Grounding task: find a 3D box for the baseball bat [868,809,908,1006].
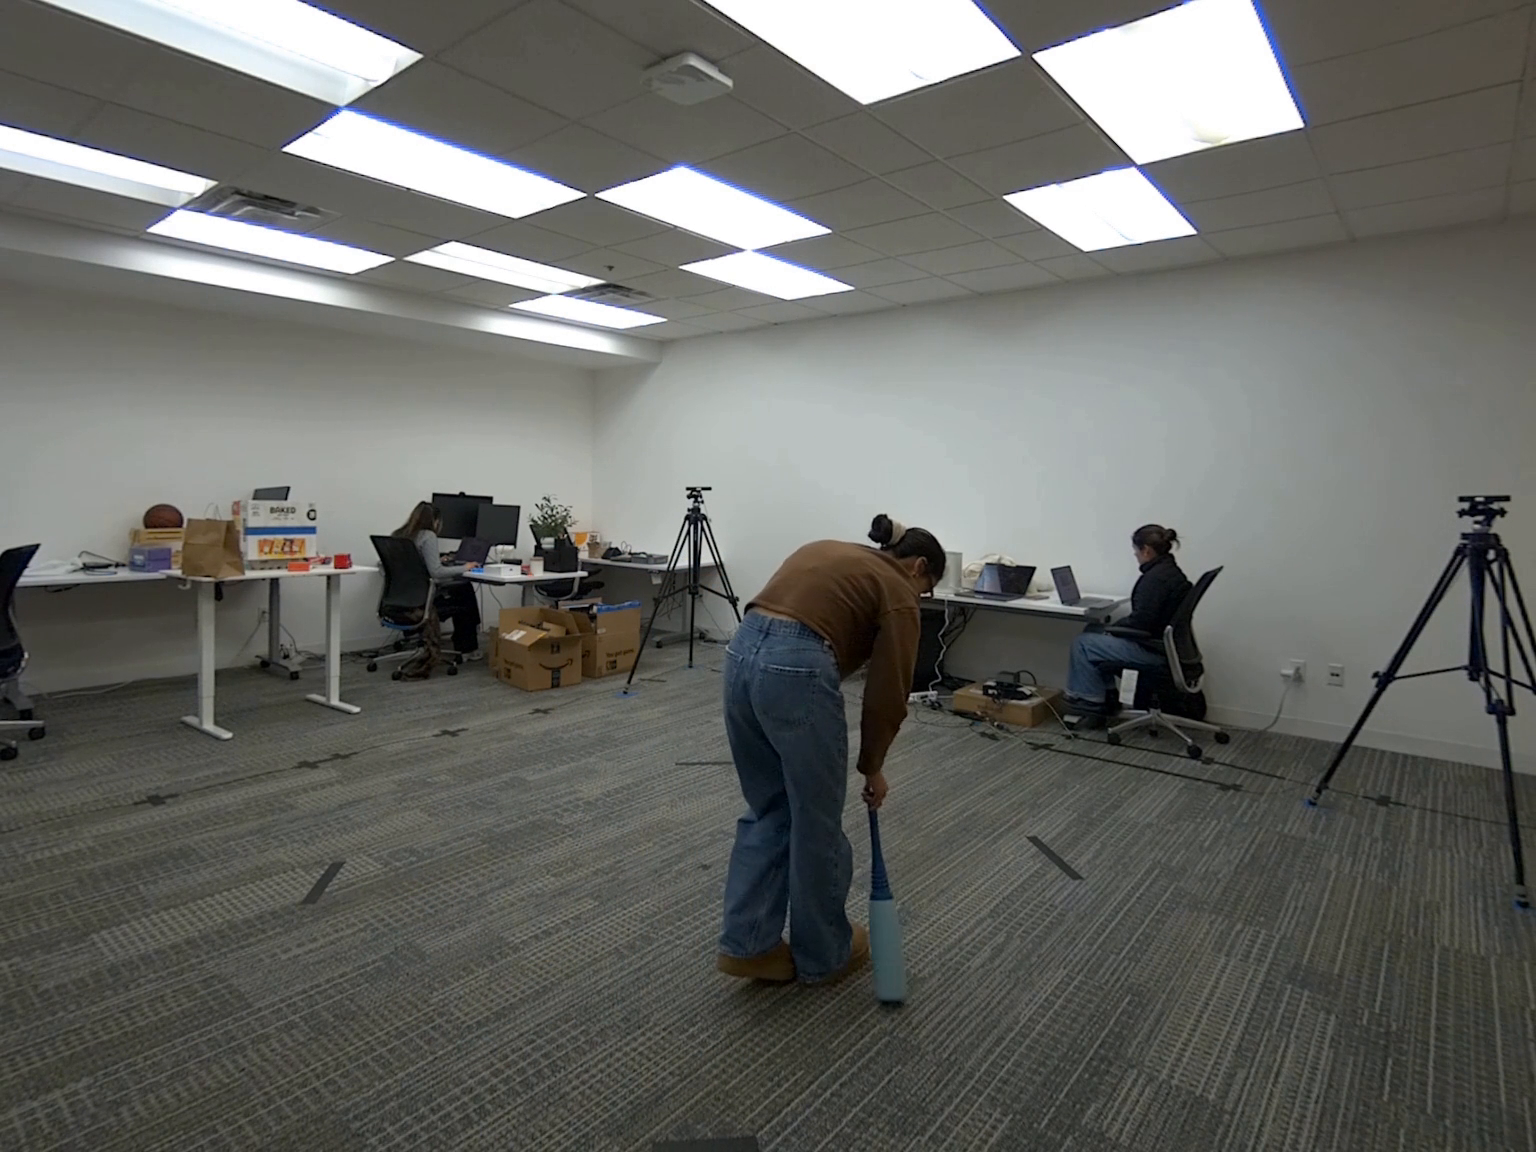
[{"bbox_3d":[0.305,0.894,2.394,0.089,0.553,0.088,-4,-17,-3],"label":"baseball bat"}]
